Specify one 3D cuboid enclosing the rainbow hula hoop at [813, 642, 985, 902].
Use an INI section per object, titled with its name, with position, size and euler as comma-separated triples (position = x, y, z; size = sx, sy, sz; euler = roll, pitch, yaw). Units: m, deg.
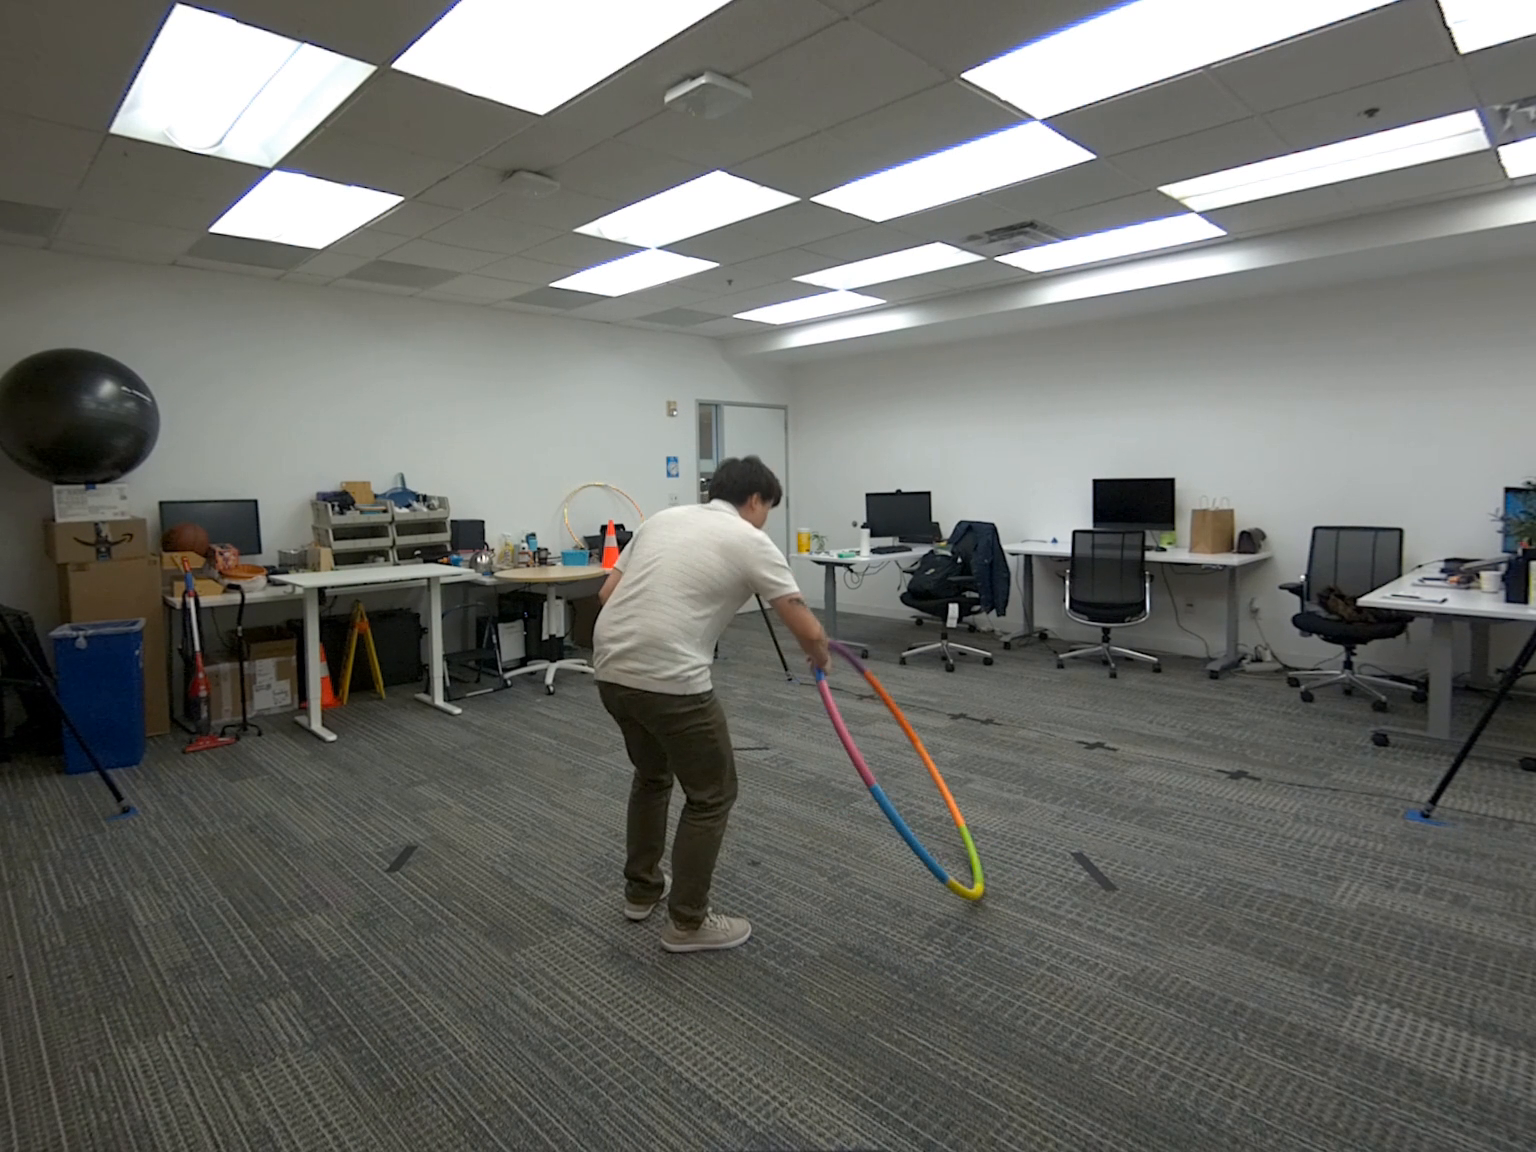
[rainbow hula hoop]
position = 0.452, 0.638, 2.978
size = 0.035, 0.985, 0.970
euler = -37, -4, 13
